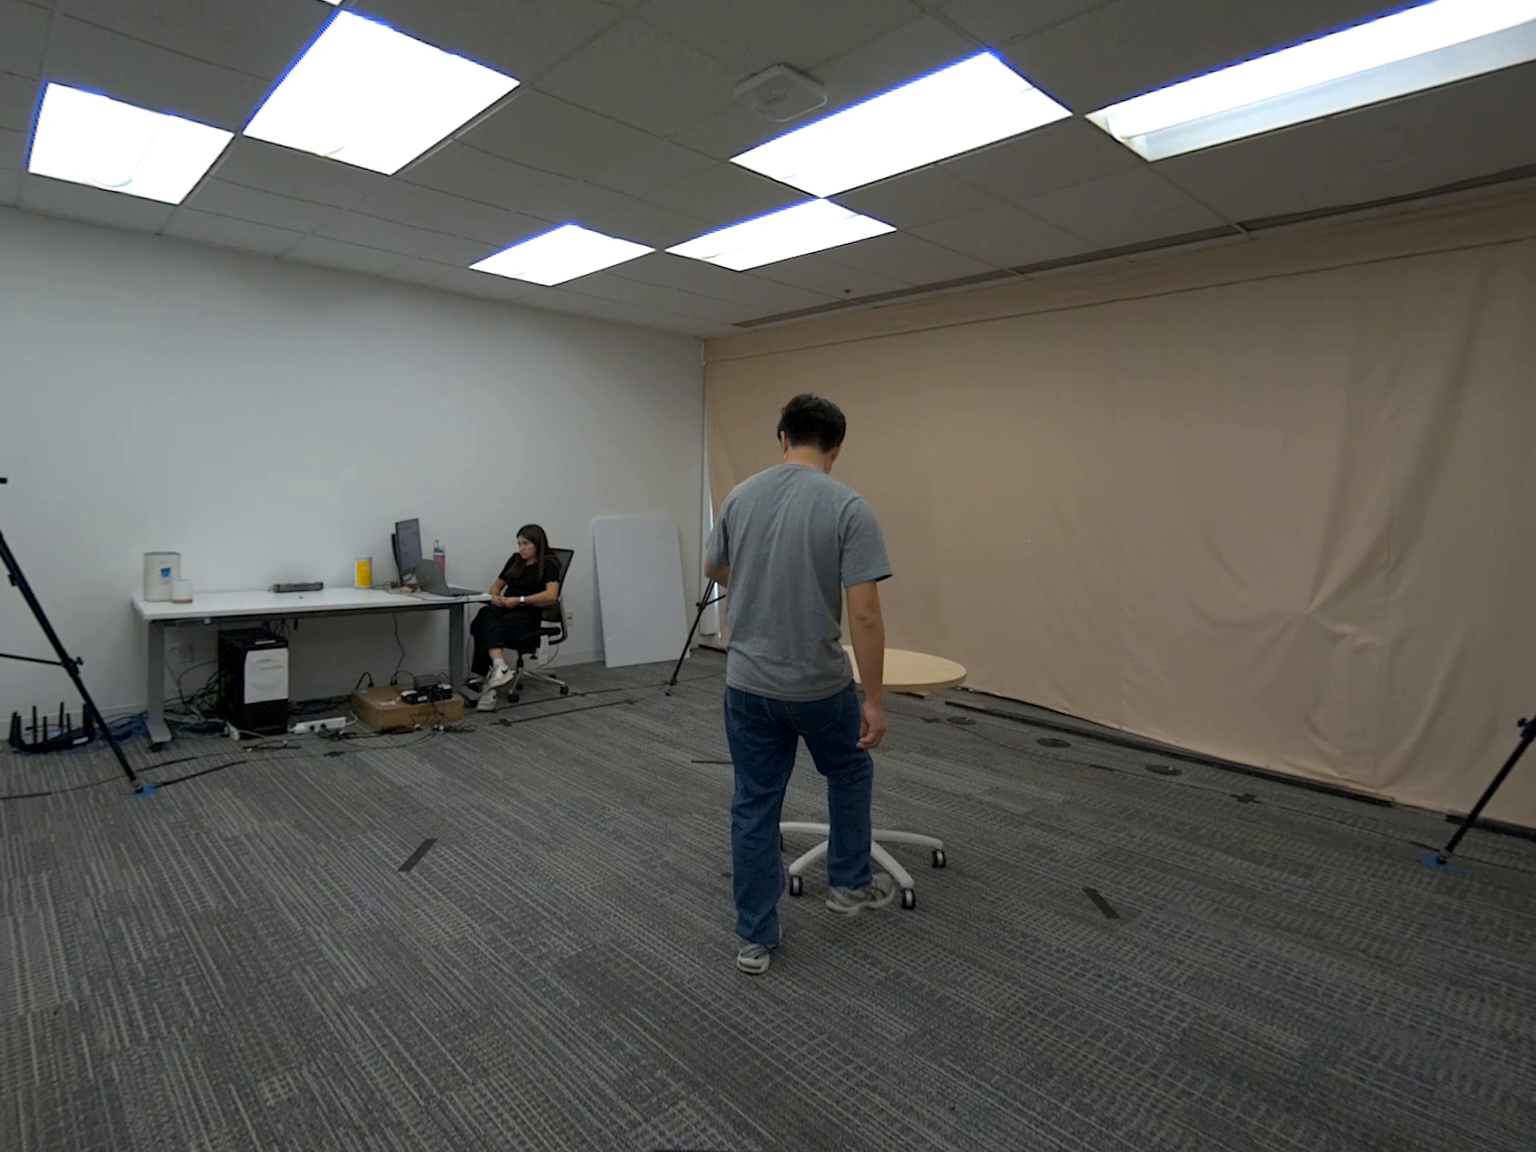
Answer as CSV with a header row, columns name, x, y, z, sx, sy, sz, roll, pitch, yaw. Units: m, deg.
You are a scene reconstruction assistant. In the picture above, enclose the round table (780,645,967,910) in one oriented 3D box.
name,x,y,z,sx,sy,sz,roll,pitch,yaw
round table,0.339,0.725,3.185,0.763,0.792,0.766,2,4,-1
